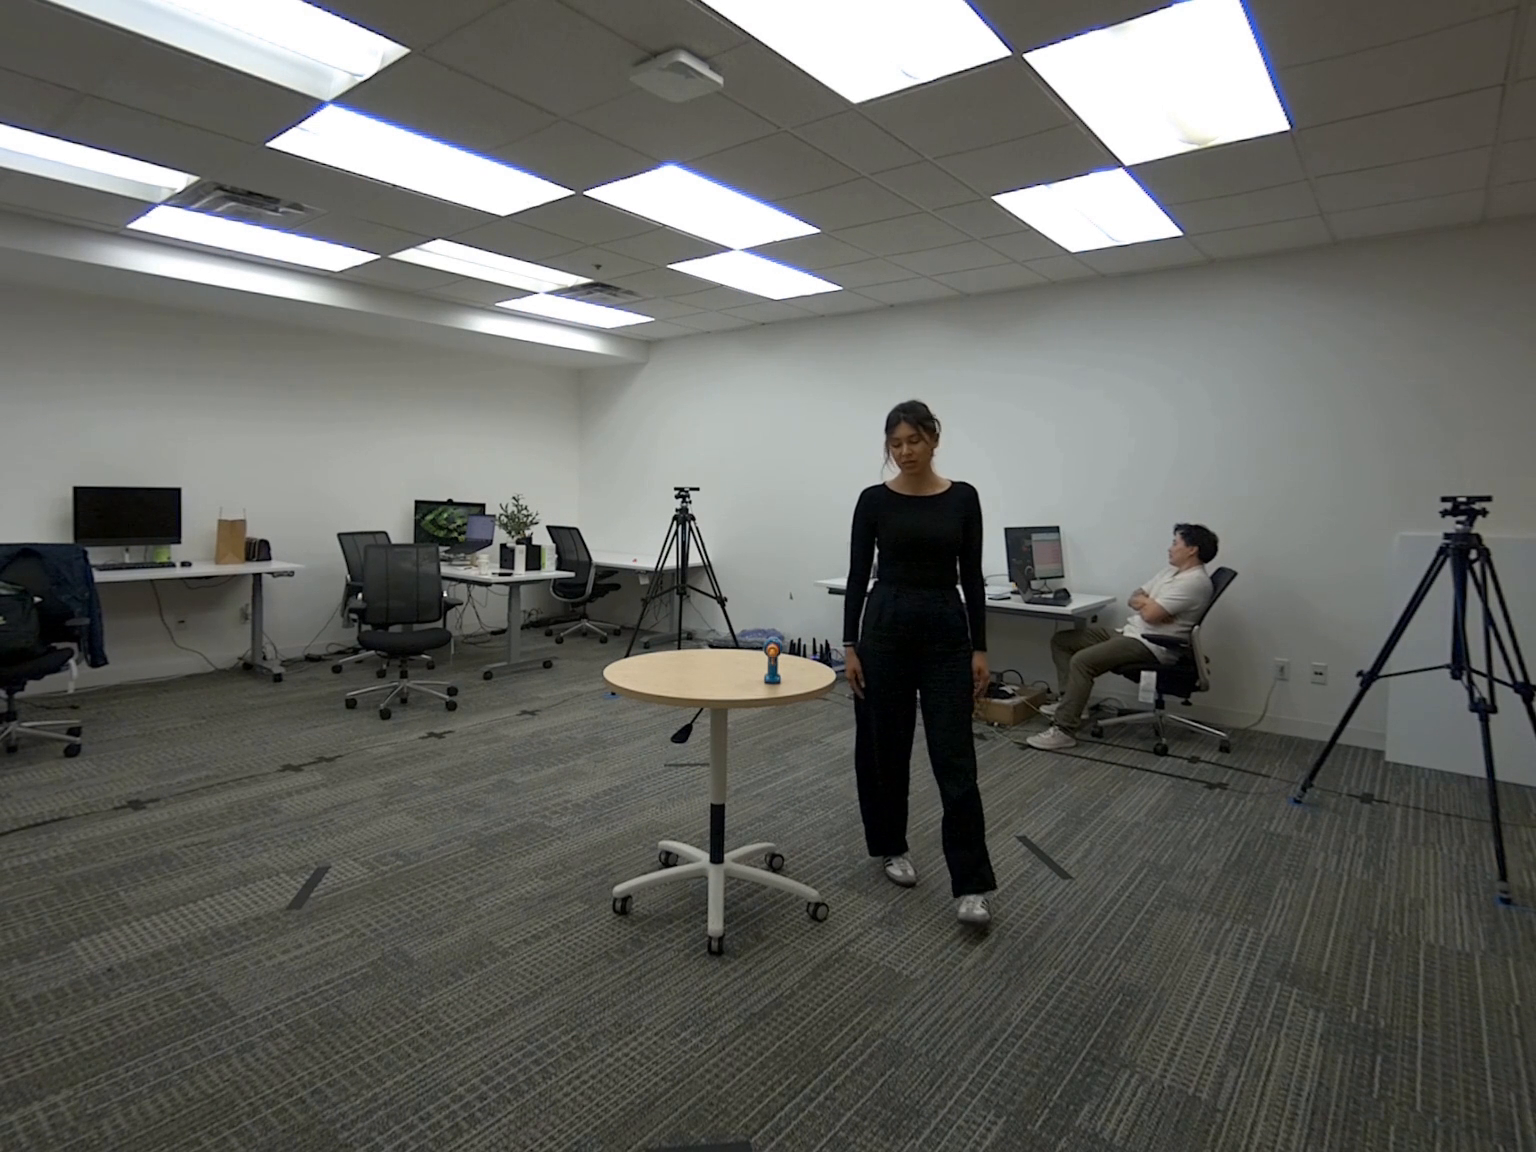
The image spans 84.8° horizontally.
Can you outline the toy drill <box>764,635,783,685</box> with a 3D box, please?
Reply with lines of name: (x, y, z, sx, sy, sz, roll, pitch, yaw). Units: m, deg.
toy drill: (0.007, 0.262, 2.617, 0.061, 0.145, 0.170, -1, 4, -2)
